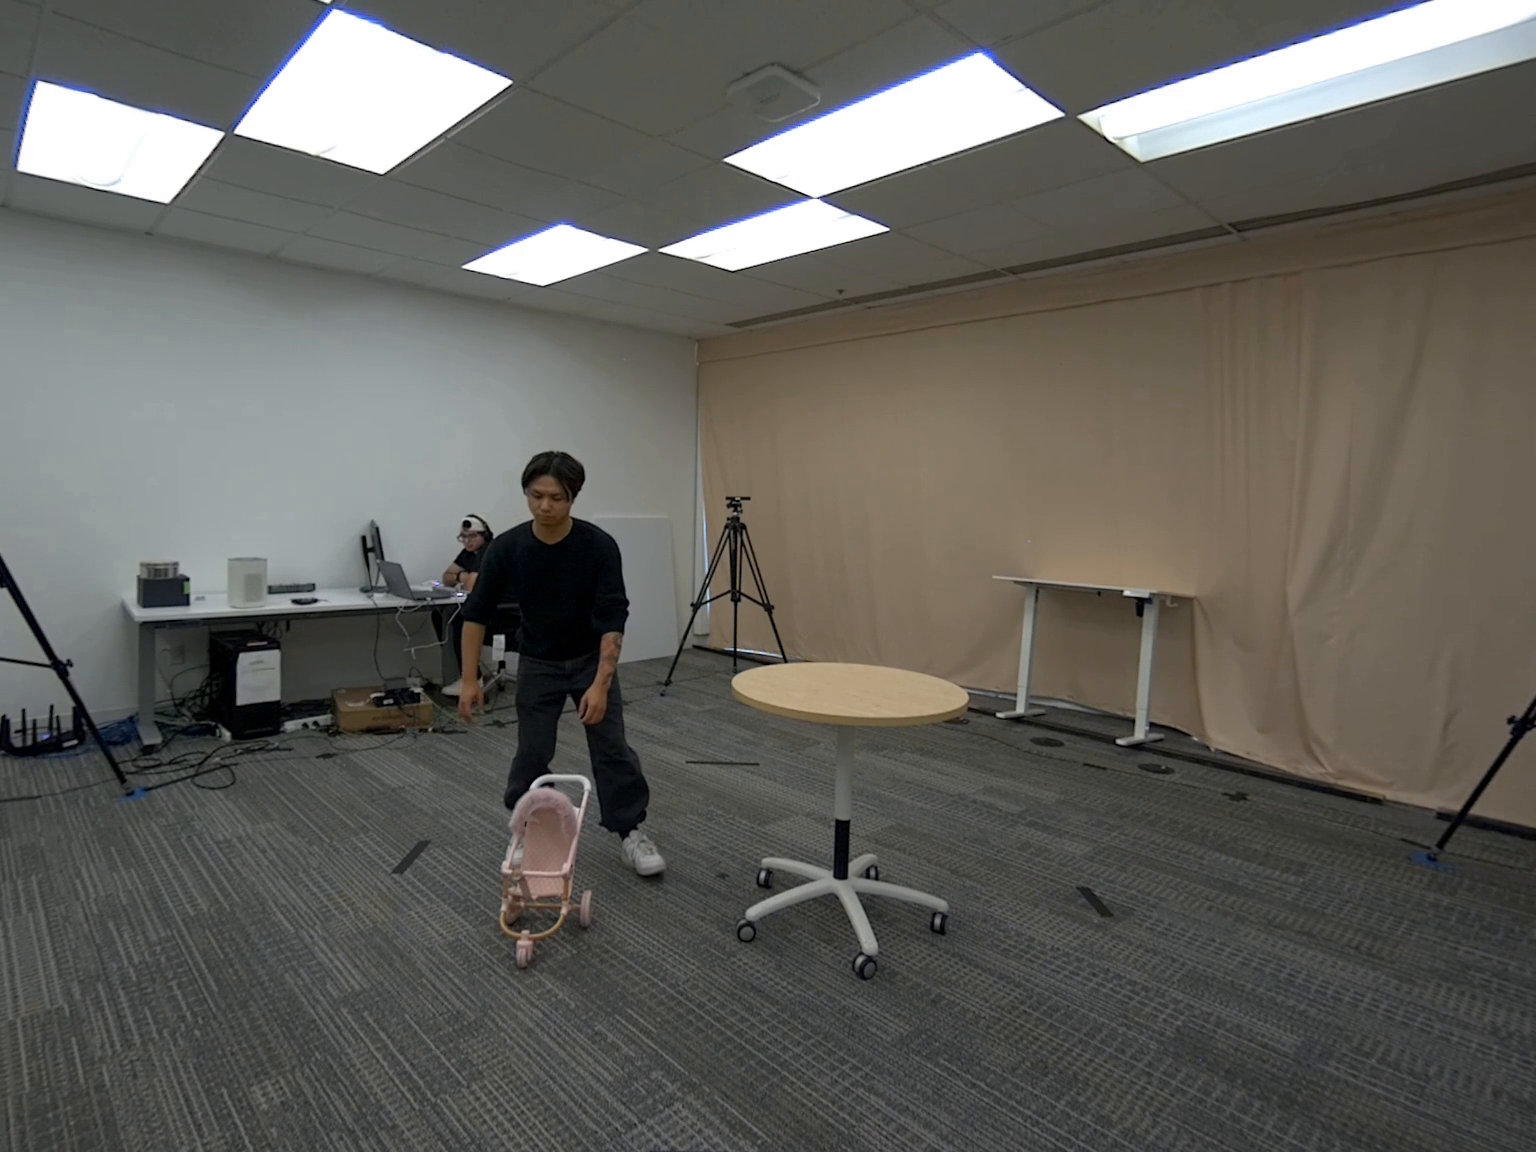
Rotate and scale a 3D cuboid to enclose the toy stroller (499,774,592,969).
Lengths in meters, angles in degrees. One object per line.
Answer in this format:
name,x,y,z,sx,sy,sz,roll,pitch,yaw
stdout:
toy stroller,-0.726,0.917,2.648,0.283,0.539,0.336,1,-11,6
